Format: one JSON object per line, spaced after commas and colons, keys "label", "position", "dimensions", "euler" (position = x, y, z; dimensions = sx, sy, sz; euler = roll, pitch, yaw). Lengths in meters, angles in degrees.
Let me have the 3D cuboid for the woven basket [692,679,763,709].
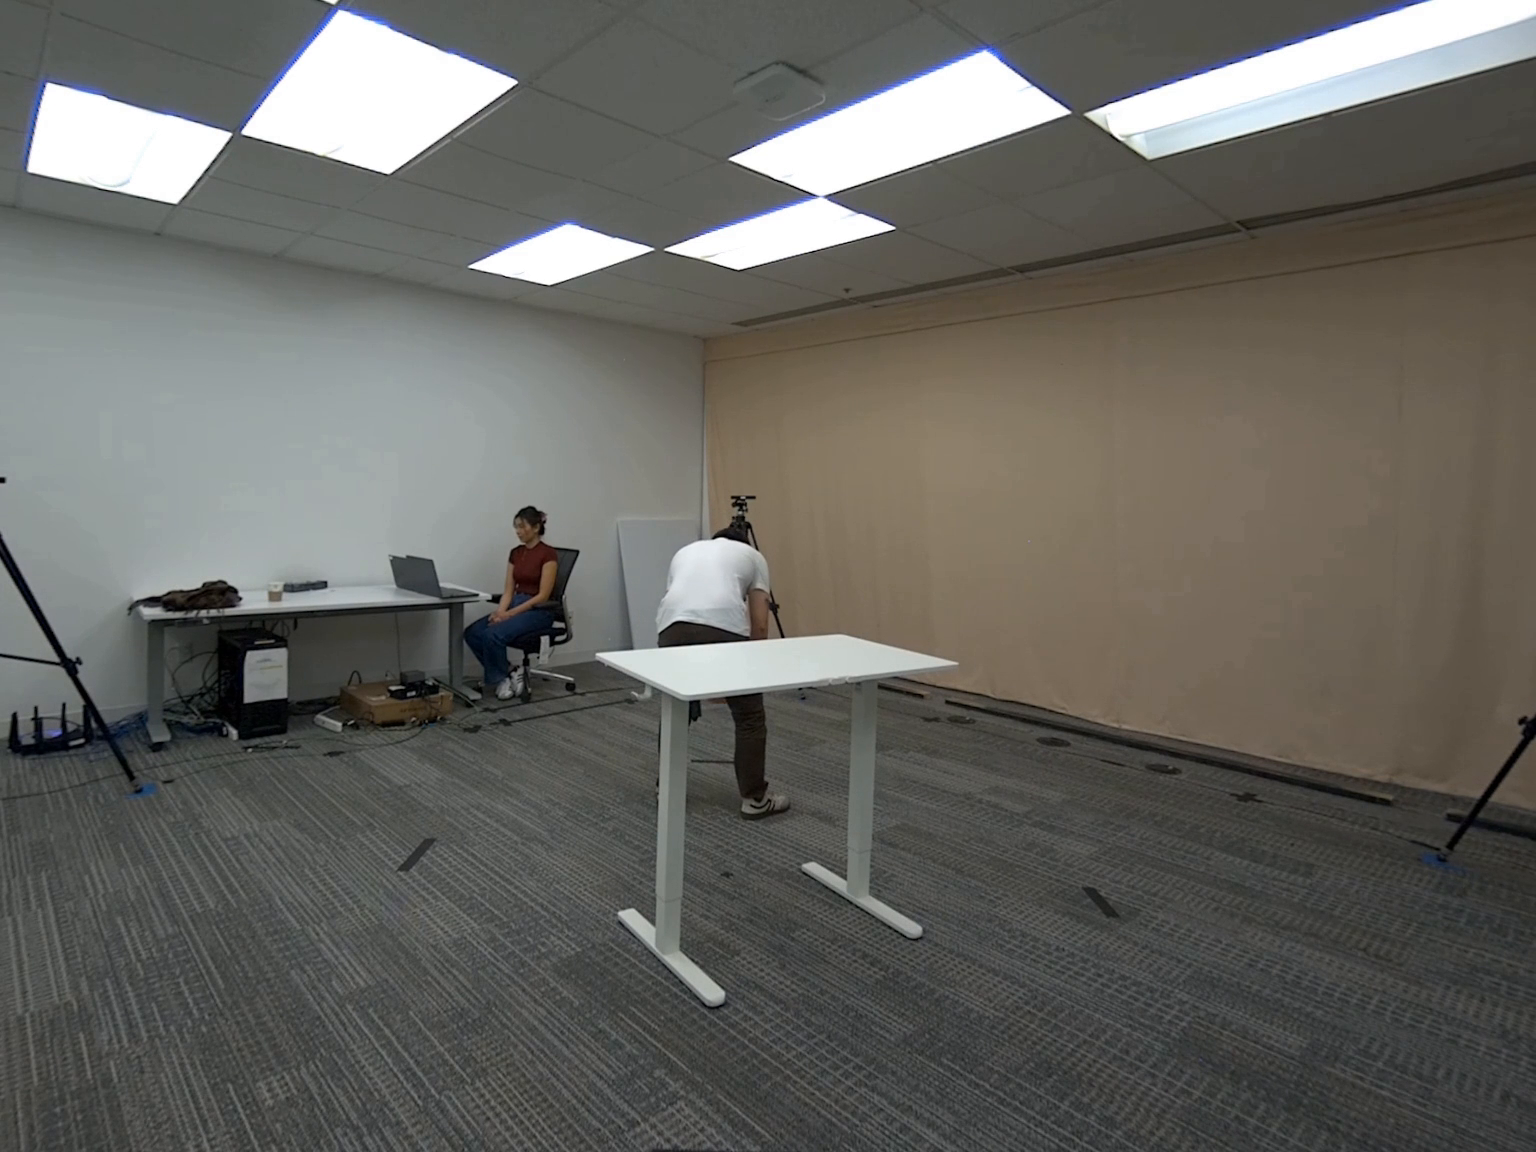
{"label": "woven basket", "position": [-0.190, 0.564, 4.071], "dimensions": [0.255, 0.073, 0.347], "euler": [0, 2, 13]}
